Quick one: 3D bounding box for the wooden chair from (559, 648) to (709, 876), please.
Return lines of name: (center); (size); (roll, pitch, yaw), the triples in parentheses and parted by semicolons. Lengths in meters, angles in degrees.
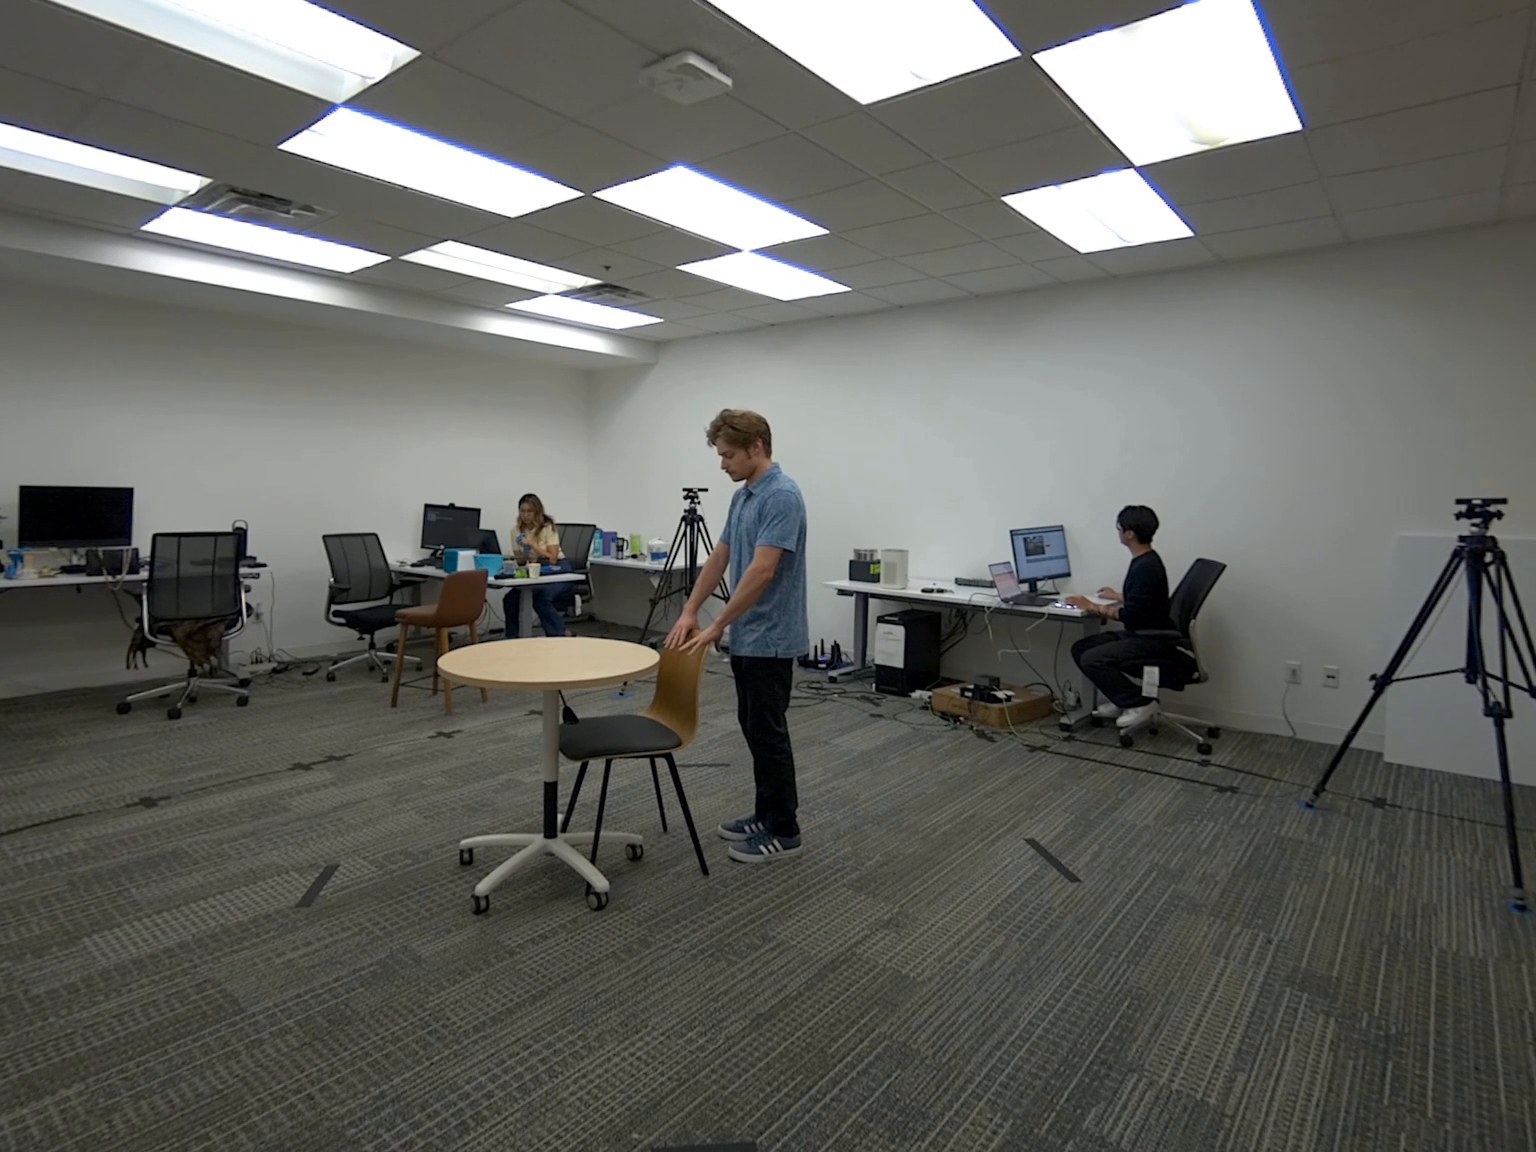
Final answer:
wooden chair: (-0.519, 0.630, 3.149); (0.510, 0.876, 0.491); (4, 2, -26)
